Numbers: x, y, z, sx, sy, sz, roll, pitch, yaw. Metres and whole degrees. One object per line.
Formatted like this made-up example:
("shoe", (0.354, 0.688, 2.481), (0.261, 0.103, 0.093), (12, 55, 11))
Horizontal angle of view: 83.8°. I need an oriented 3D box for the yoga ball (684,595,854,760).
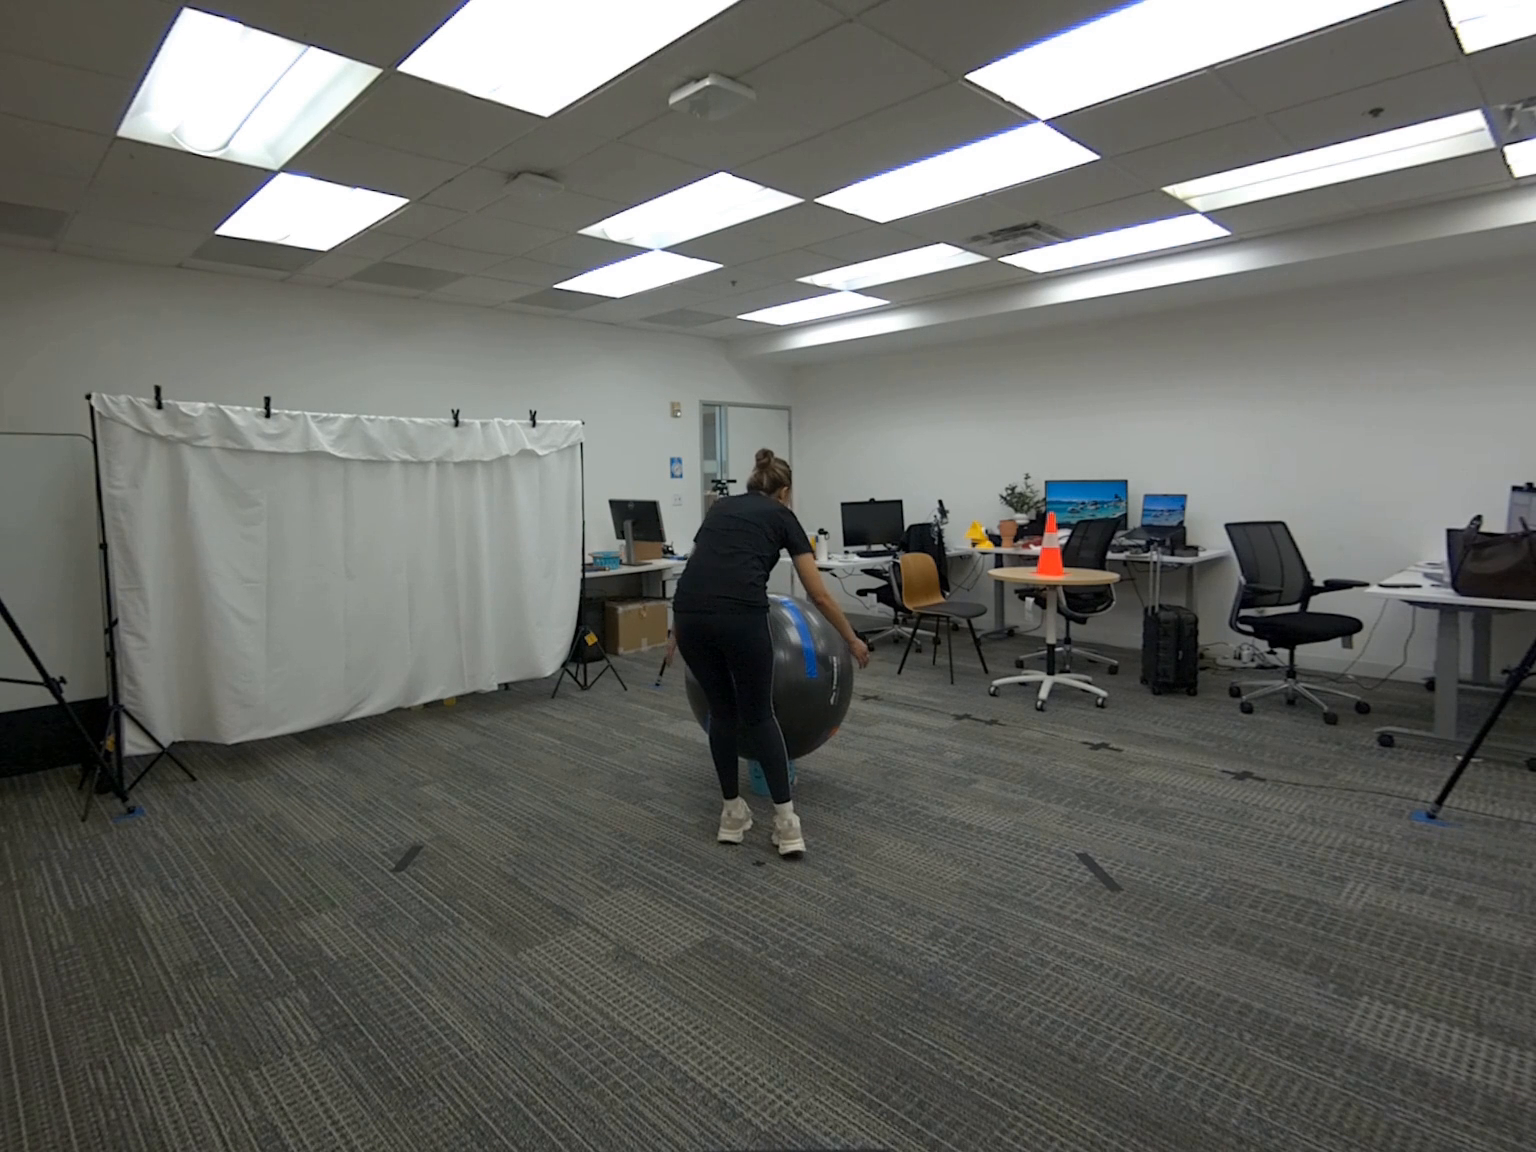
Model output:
("yoga ball", (-0.001, 0.456, 3.852), (0.757, 0.755, 0.762), (-1, 5, -2))
